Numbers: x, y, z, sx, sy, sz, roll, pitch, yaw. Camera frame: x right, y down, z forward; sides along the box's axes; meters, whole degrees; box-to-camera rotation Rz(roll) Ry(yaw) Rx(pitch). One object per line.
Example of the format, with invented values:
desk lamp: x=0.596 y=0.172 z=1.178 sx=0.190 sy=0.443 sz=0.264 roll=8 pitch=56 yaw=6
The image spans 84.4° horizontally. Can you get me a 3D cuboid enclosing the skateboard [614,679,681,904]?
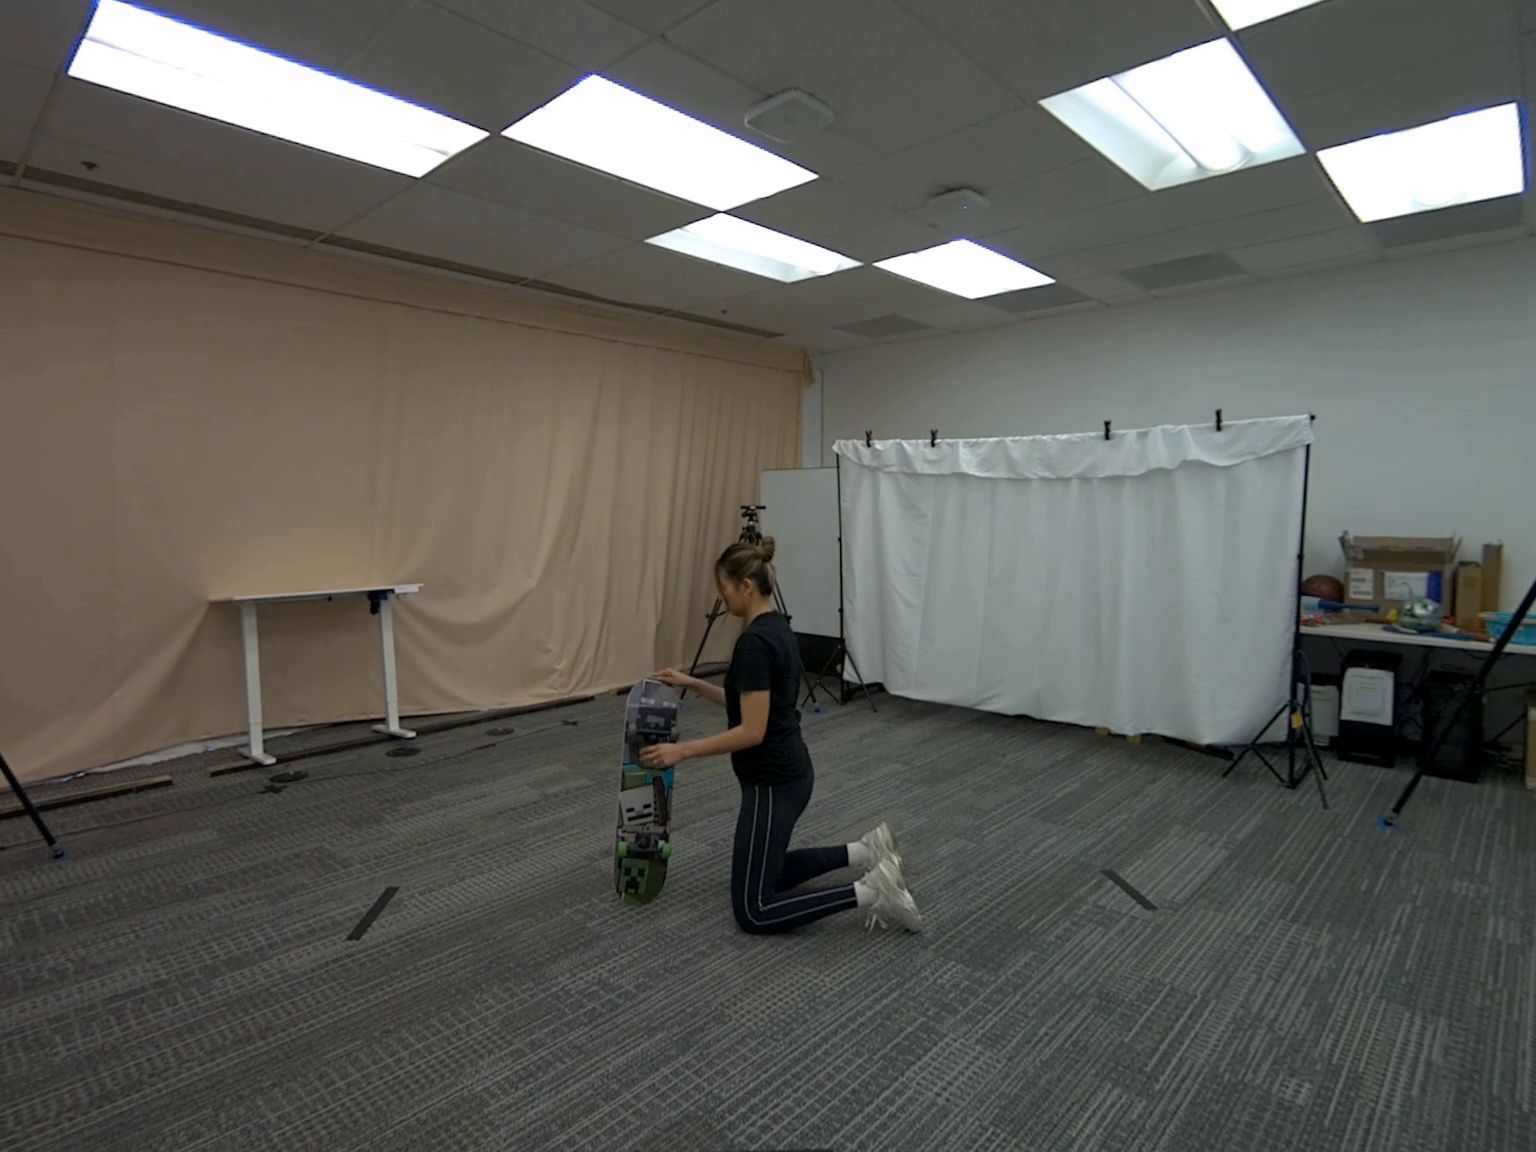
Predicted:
skateboard: x=-0.421 y=0.759 z=2.974 sx=0.191 sy=0.790 sz=0.111 roll=6 pitch=-11 yaw=-13
